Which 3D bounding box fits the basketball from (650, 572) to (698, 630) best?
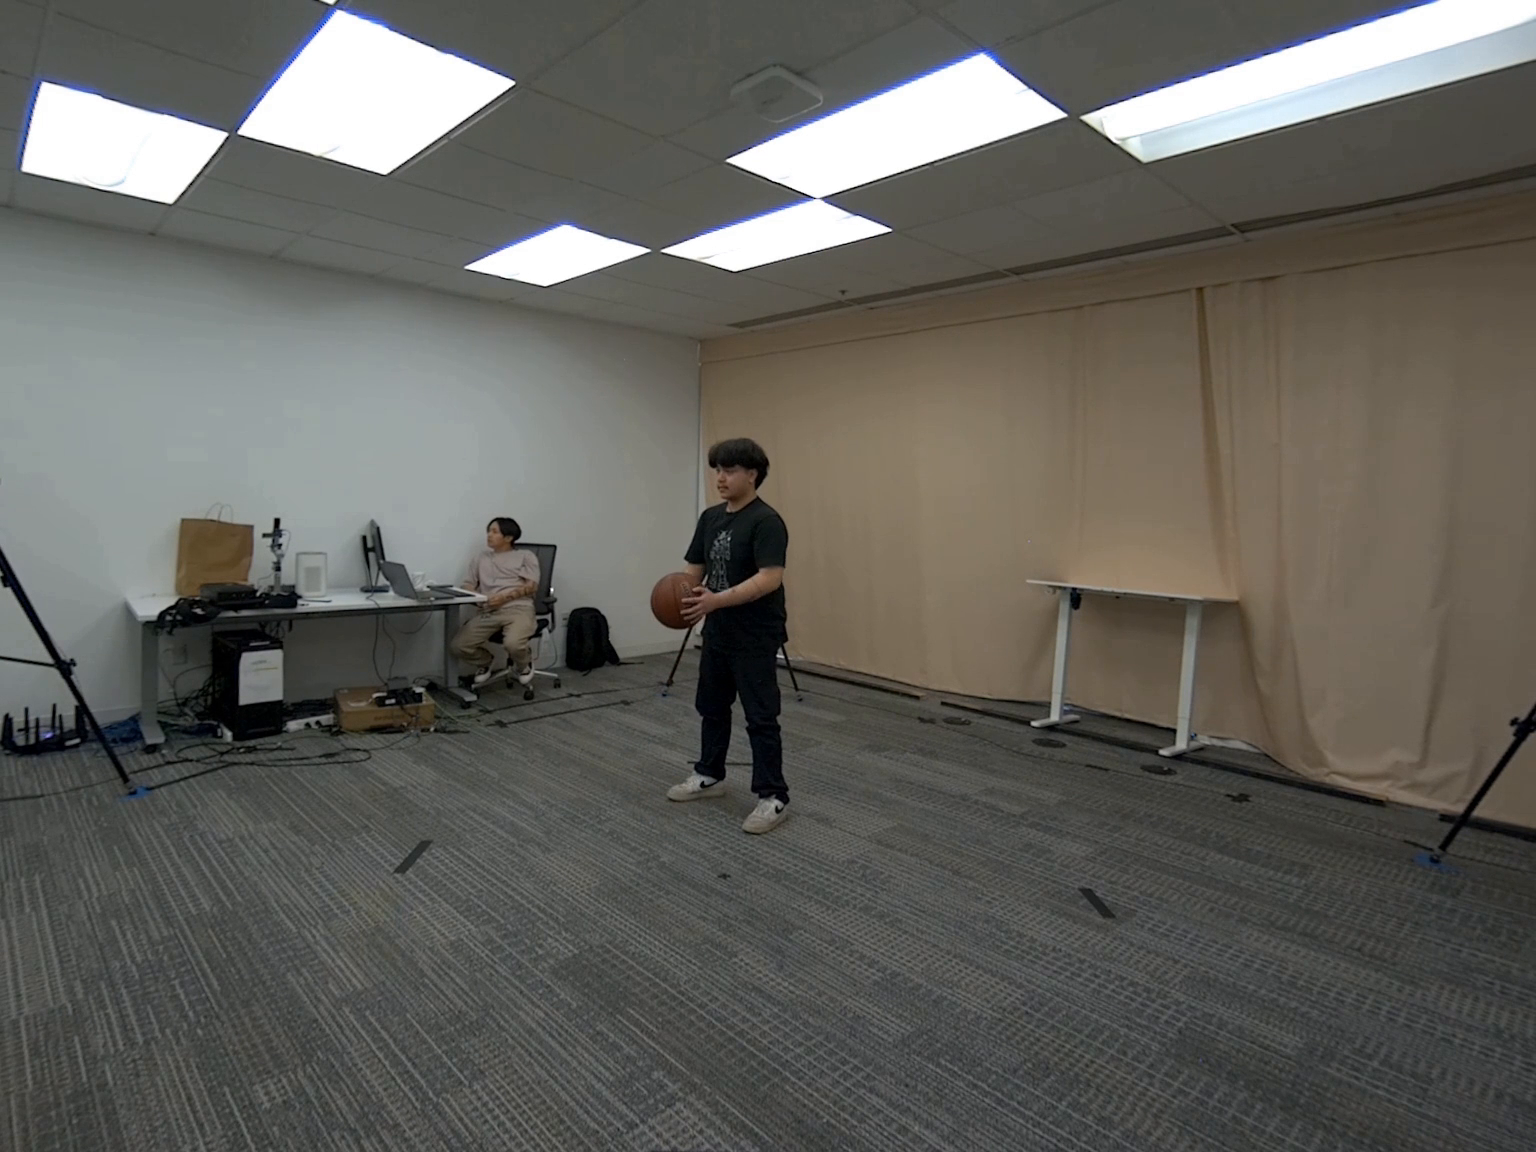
[{"bbox_3d":[-0.391,0.108,3.519,0.236,0.235,0.237,1,4,-1],"label":"basketball"}]
